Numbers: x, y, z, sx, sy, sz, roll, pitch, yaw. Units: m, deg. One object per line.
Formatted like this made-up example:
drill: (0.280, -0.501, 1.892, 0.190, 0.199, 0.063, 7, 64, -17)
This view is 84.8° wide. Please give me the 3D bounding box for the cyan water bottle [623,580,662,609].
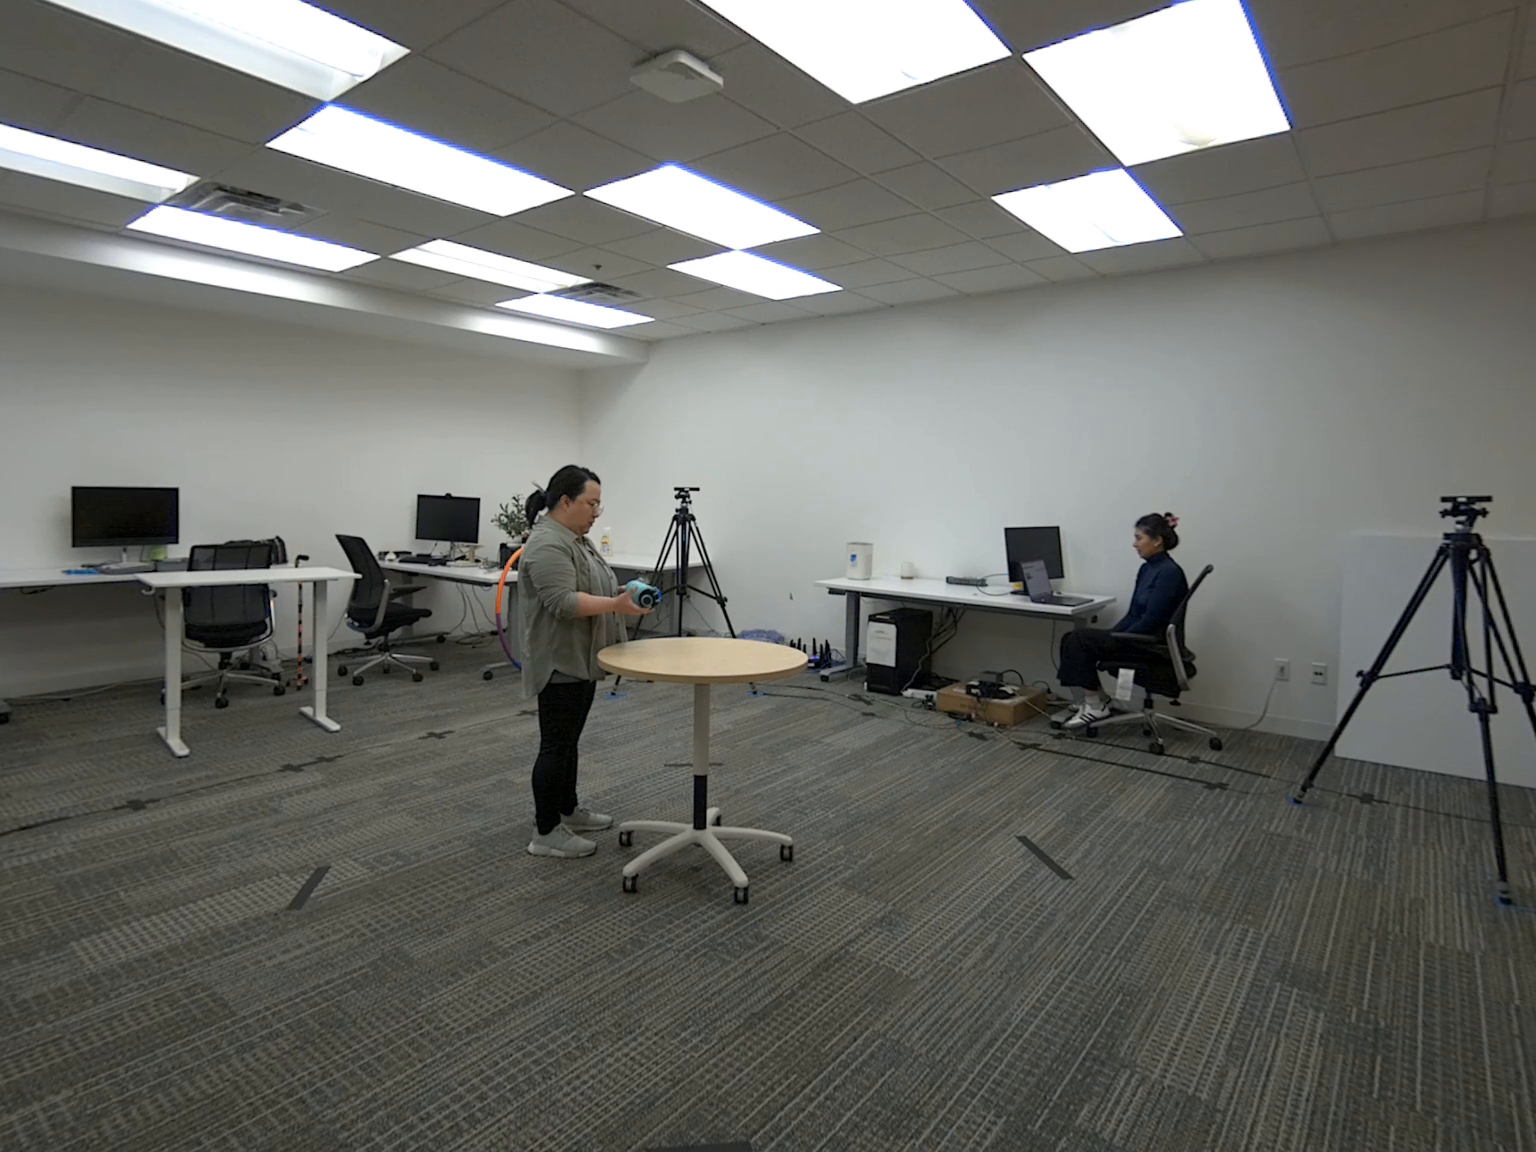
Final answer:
cyan water bottle: (-0.509, 0.074, 3.277, 0.090, 0.092, 0.291, -1, 3, -28)
